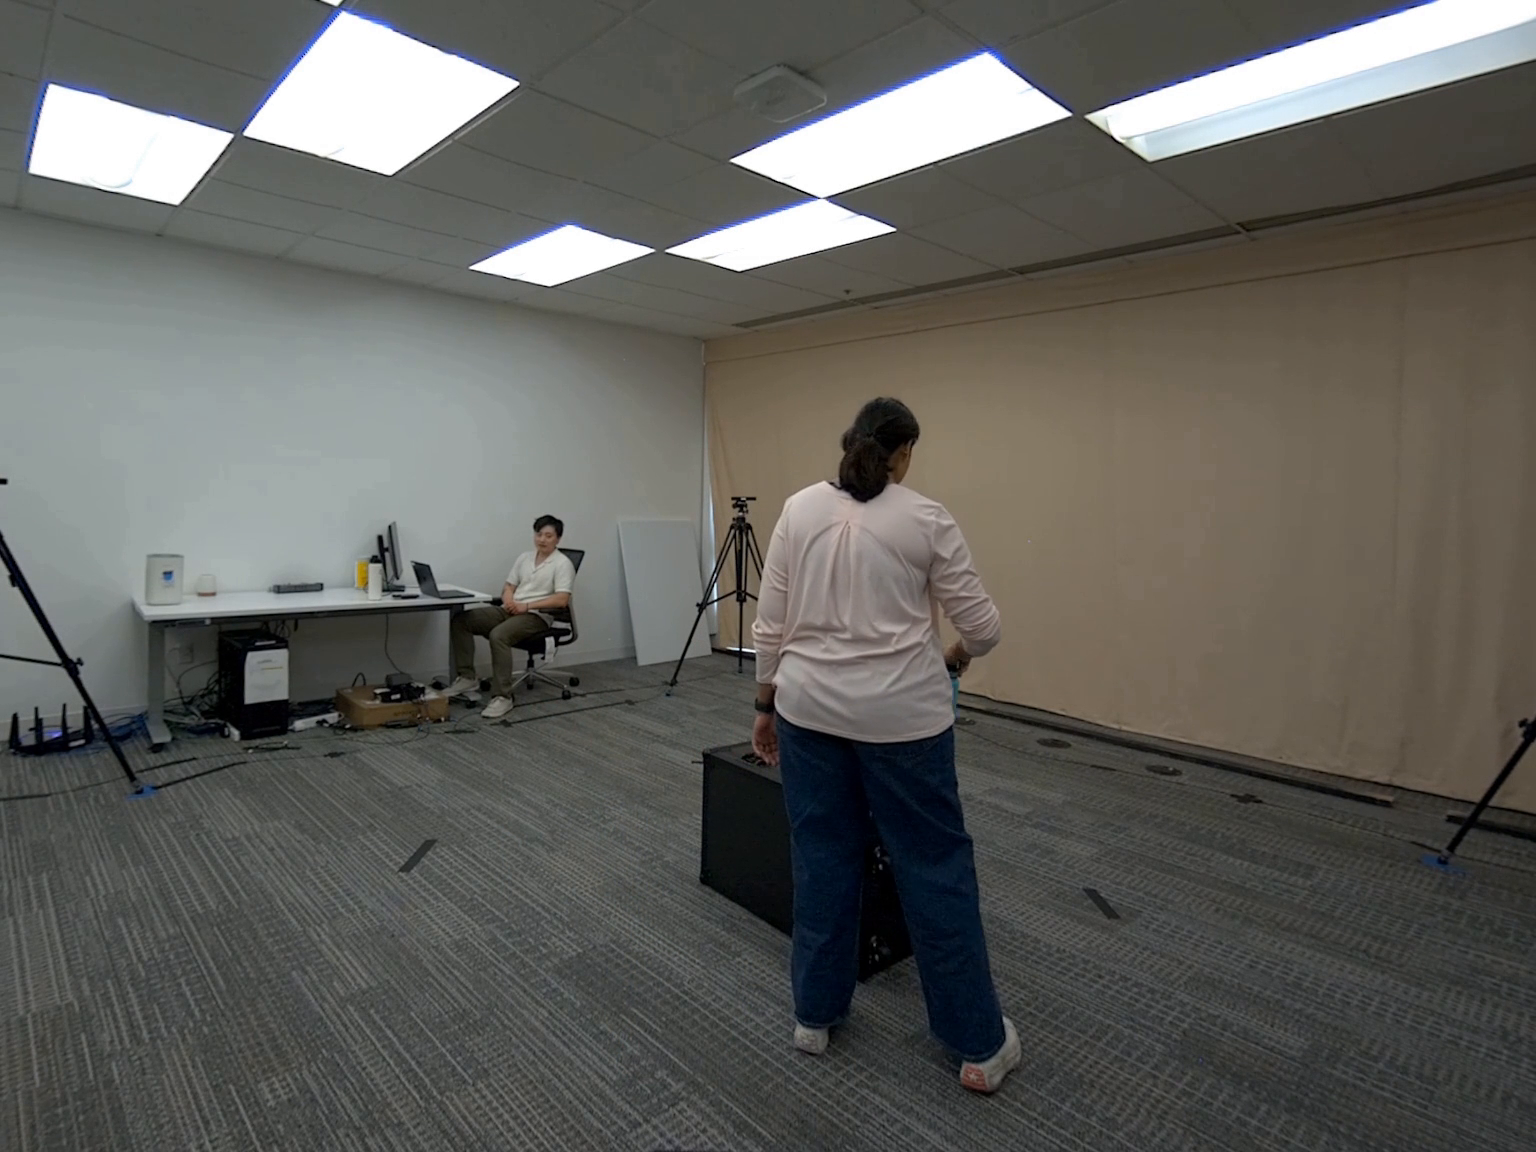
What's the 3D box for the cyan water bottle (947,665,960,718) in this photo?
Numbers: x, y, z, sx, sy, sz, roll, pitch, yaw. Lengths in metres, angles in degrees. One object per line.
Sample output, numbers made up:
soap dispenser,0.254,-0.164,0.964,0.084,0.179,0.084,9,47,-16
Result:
cyan water bottle,0.494,0.376,2.400,0.092,0.282,0.093,5,5,-2
